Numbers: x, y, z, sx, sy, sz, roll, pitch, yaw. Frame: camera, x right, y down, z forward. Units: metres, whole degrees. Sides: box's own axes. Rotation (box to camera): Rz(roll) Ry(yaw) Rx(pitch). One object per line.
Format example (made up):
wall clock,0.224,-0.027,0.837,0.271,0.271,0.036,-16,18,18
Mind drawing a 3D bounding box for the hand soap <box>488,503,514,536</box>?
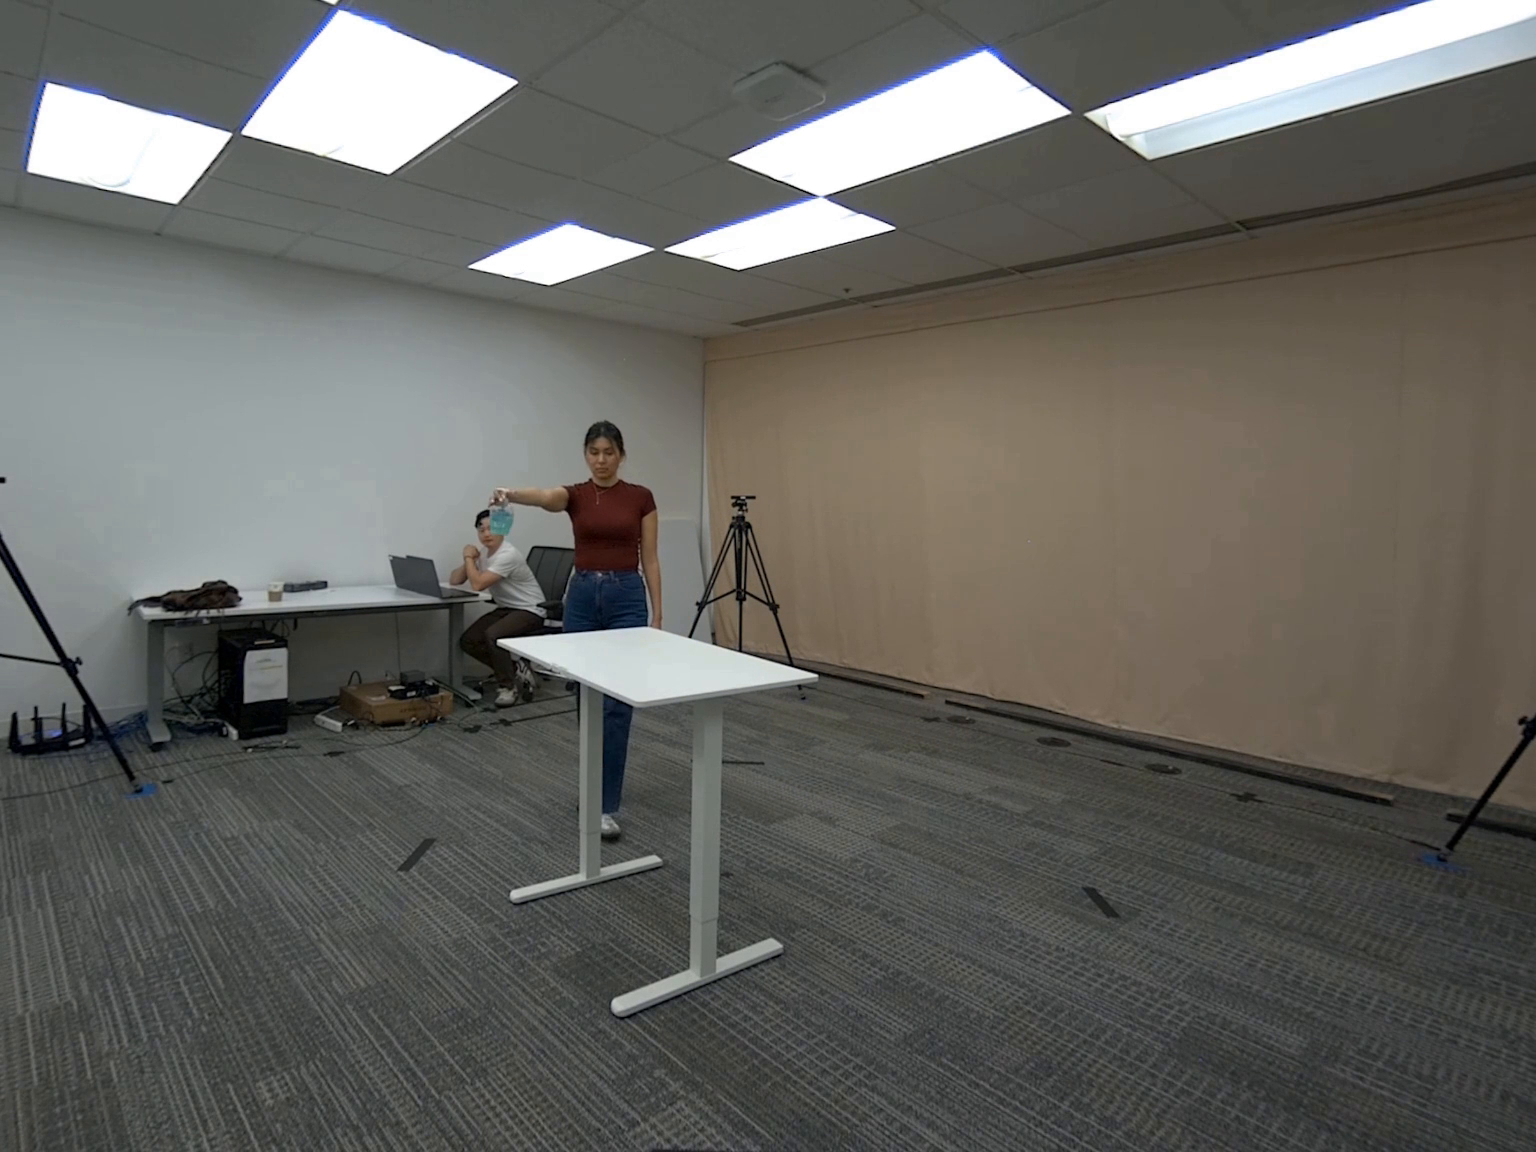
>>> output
hand soap,-0.974,-0.234,3.045,0.083,0.167,0.044,5,6,-14
